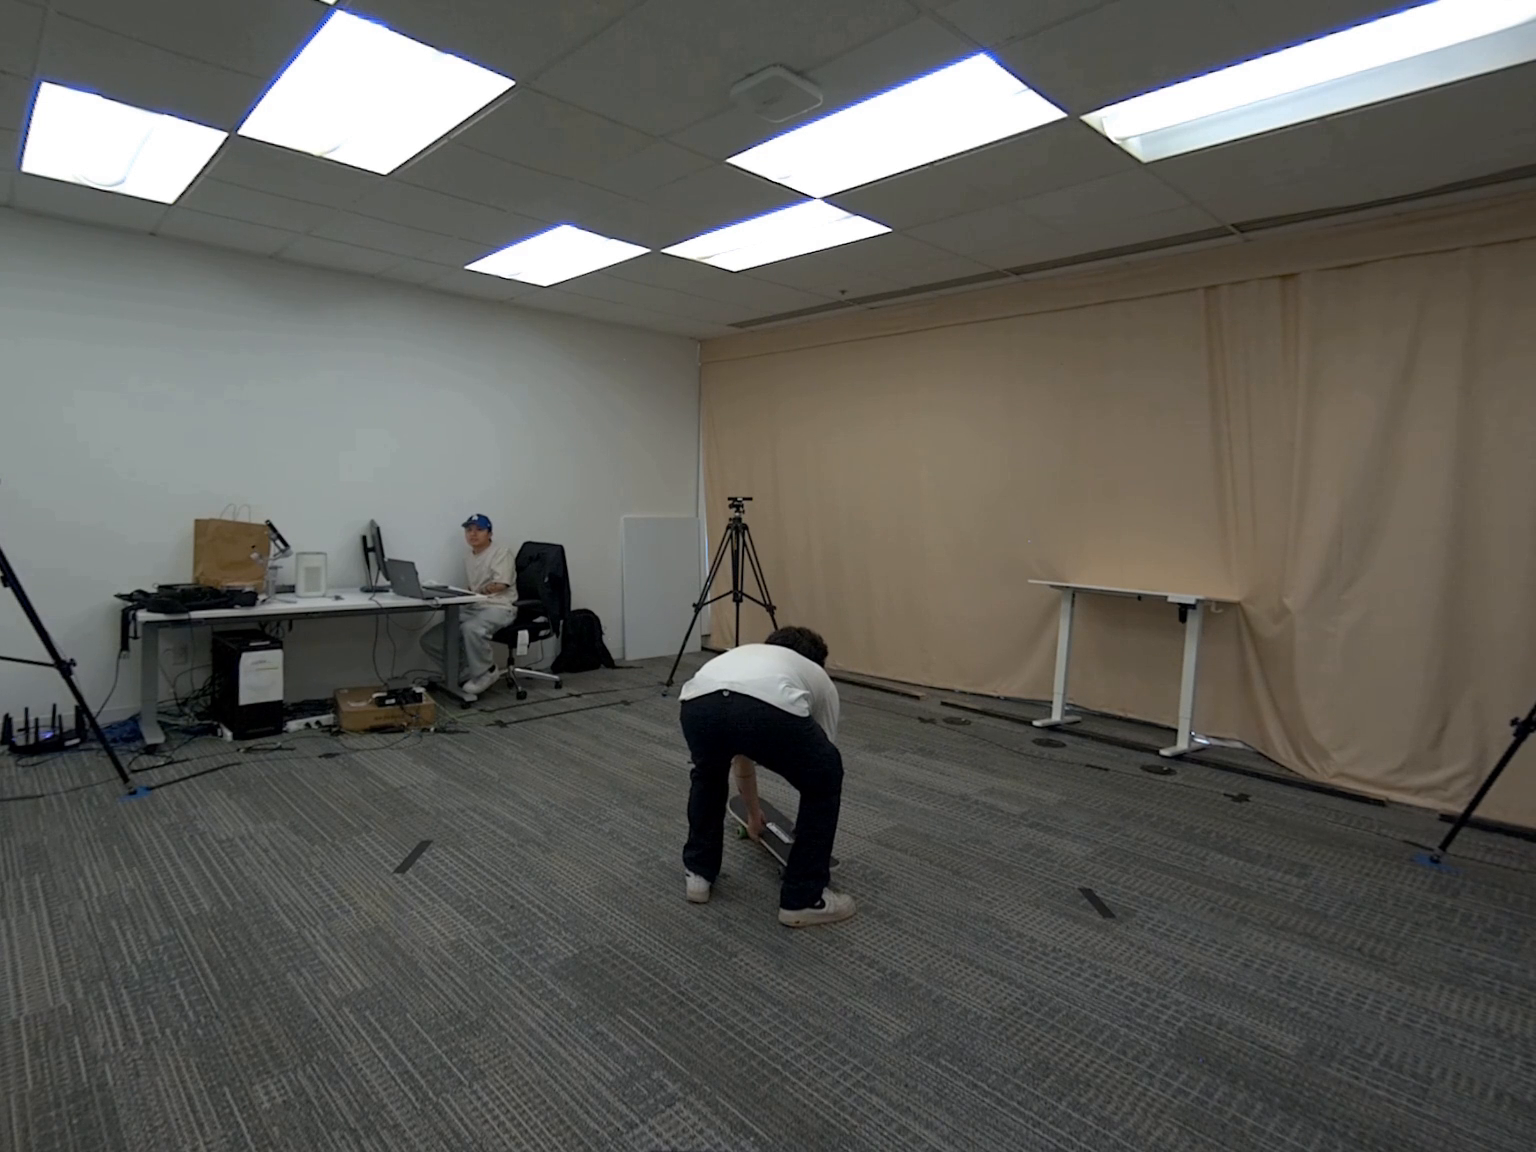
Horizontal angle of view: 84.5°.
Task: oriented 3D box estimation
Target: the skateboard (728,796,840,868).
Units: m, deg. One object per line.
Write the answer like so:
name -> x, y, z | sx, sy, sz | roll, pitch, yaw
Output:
skateboard -> 0.034, 1.040, 3.304 | 0.190, 0.110, 0.801 | 1, 6, -23
